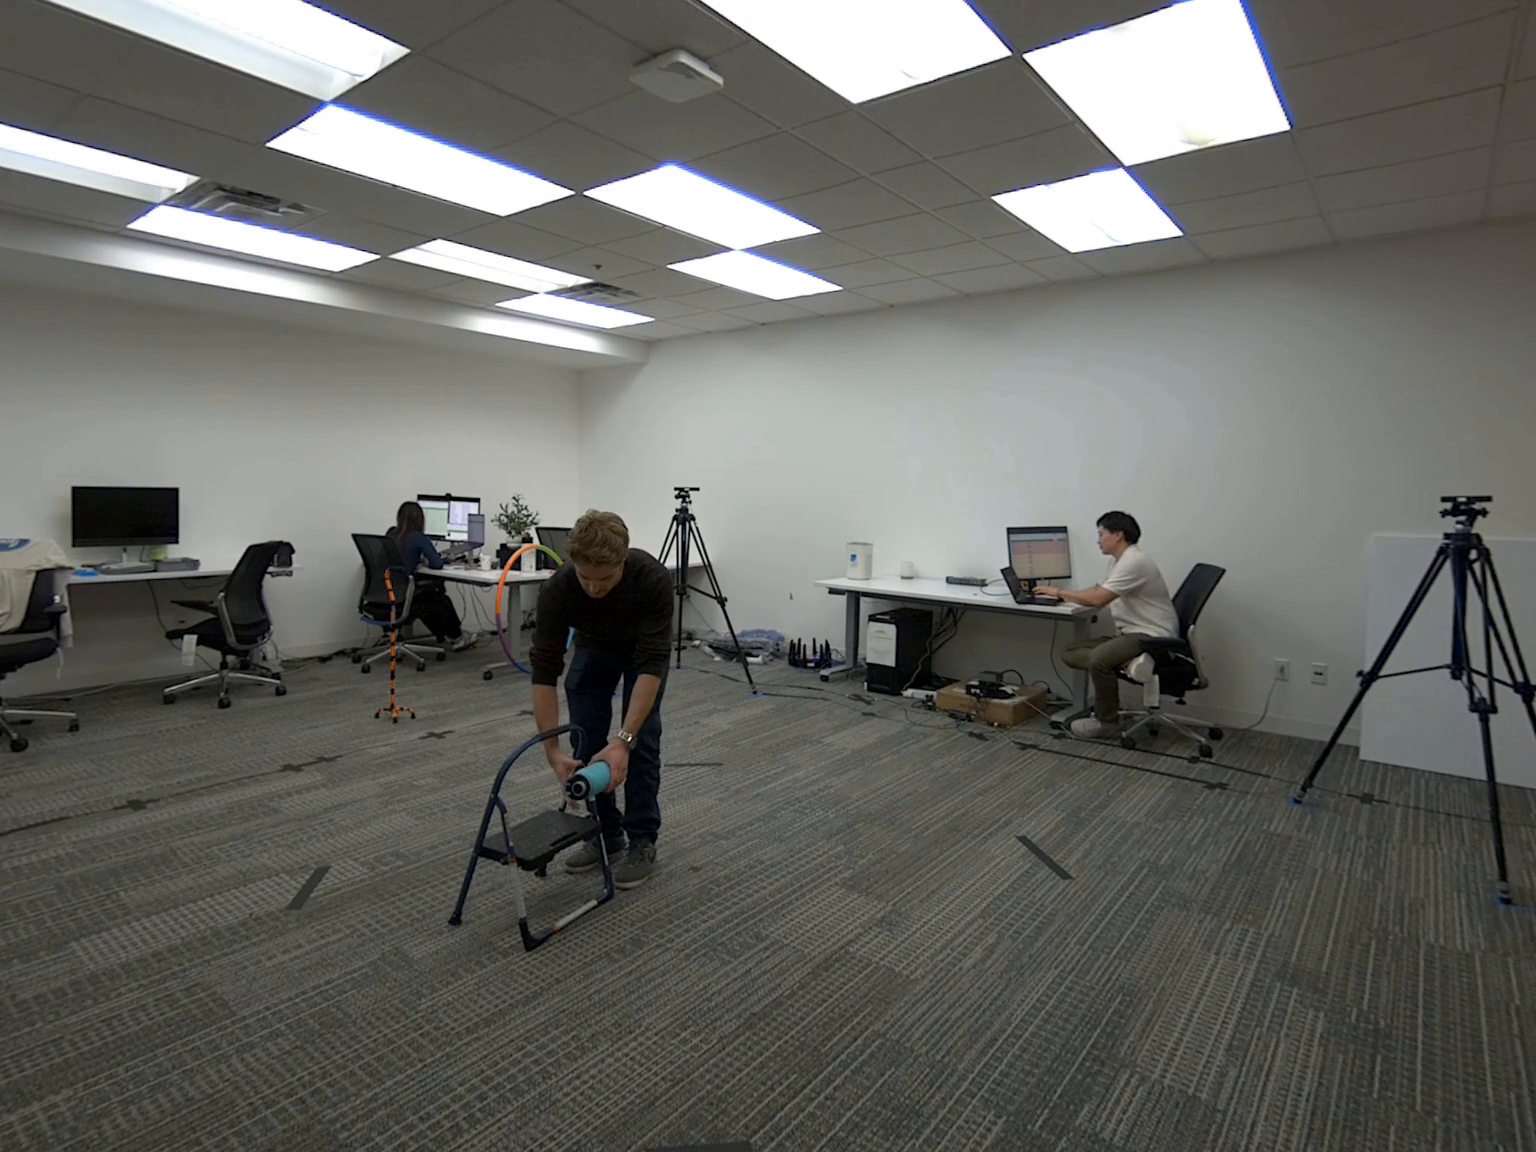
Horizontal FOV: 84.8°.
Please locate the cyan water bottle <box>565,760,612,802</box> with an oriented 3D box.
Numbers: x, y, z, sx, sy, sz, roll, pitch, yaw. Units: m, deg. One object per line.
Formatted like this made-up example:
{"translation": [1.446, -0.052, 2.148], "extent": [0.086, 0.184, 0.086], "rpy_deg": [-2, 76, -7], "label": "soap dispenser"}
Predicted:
{"translation": [-0.552, 0.622, 2.654], "extent": [0.094, 0.092, 0.278], "rpy_deg": [2, 0, 13], "label": "cyan water bottle"}
